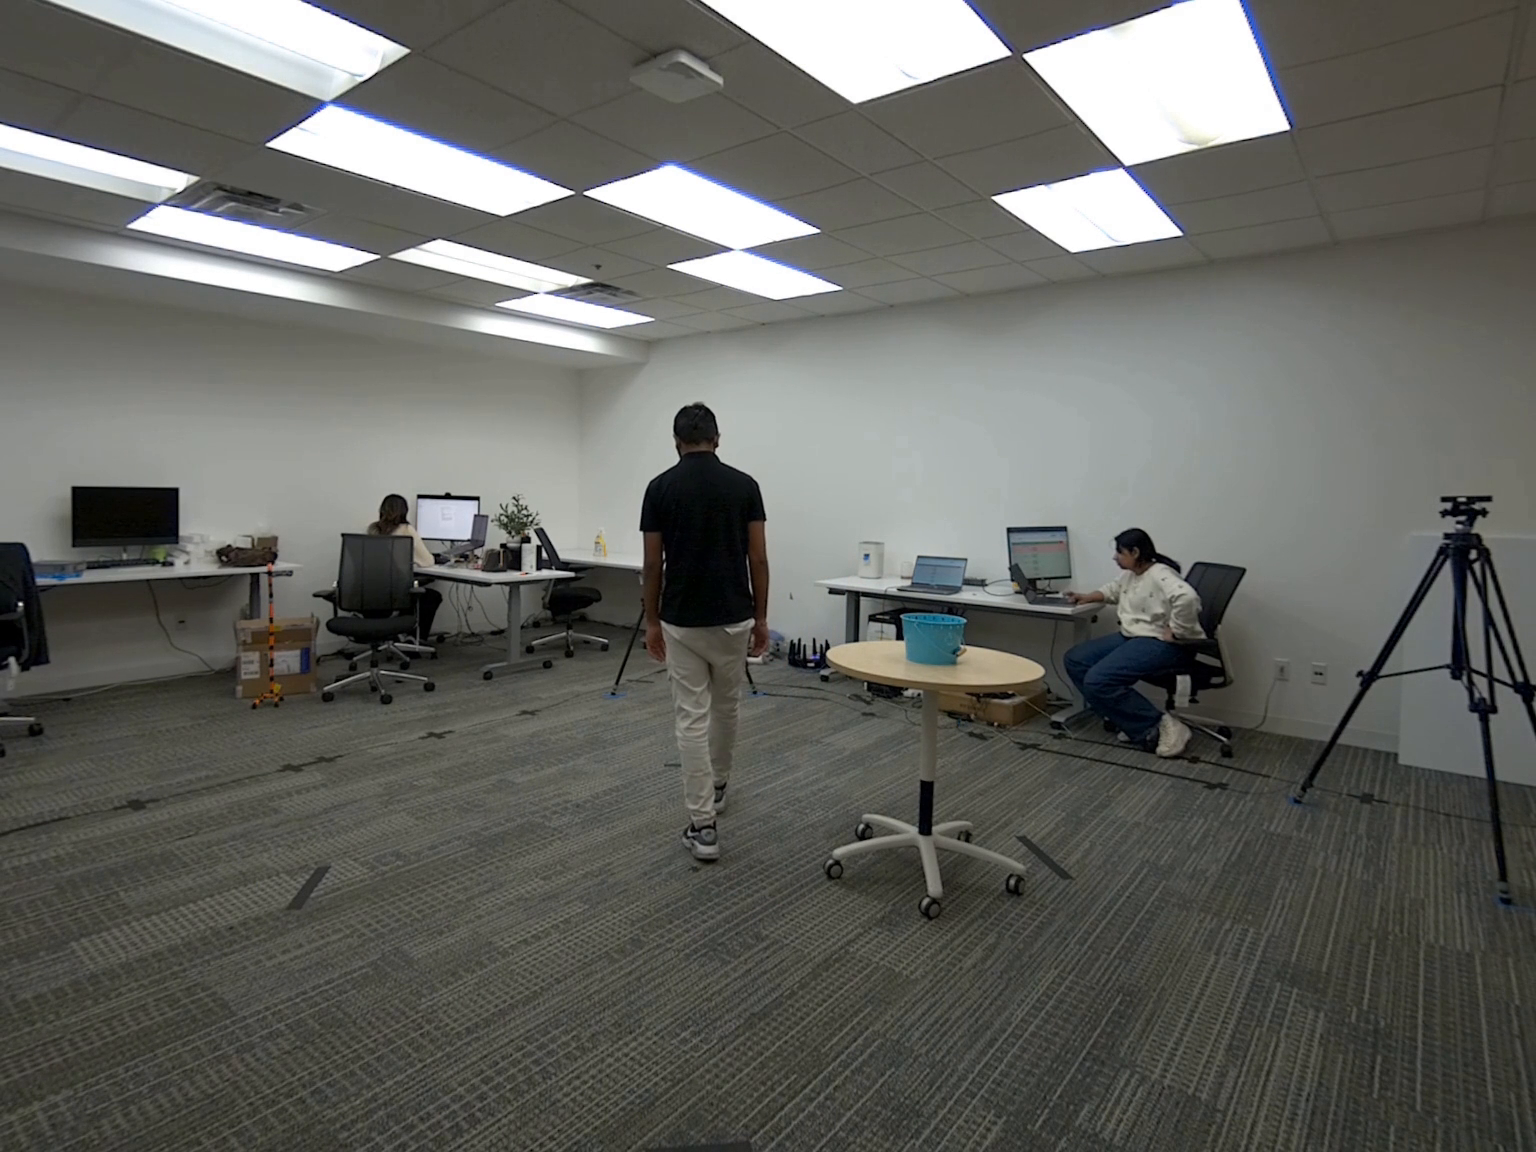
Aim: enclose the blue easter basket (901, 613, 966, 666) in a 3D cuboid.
[{"bbox_3d":[0.596,0.231,3.082,0.243,0.155,0.245,2,5,-2],"label":"blue easter basket"}]
